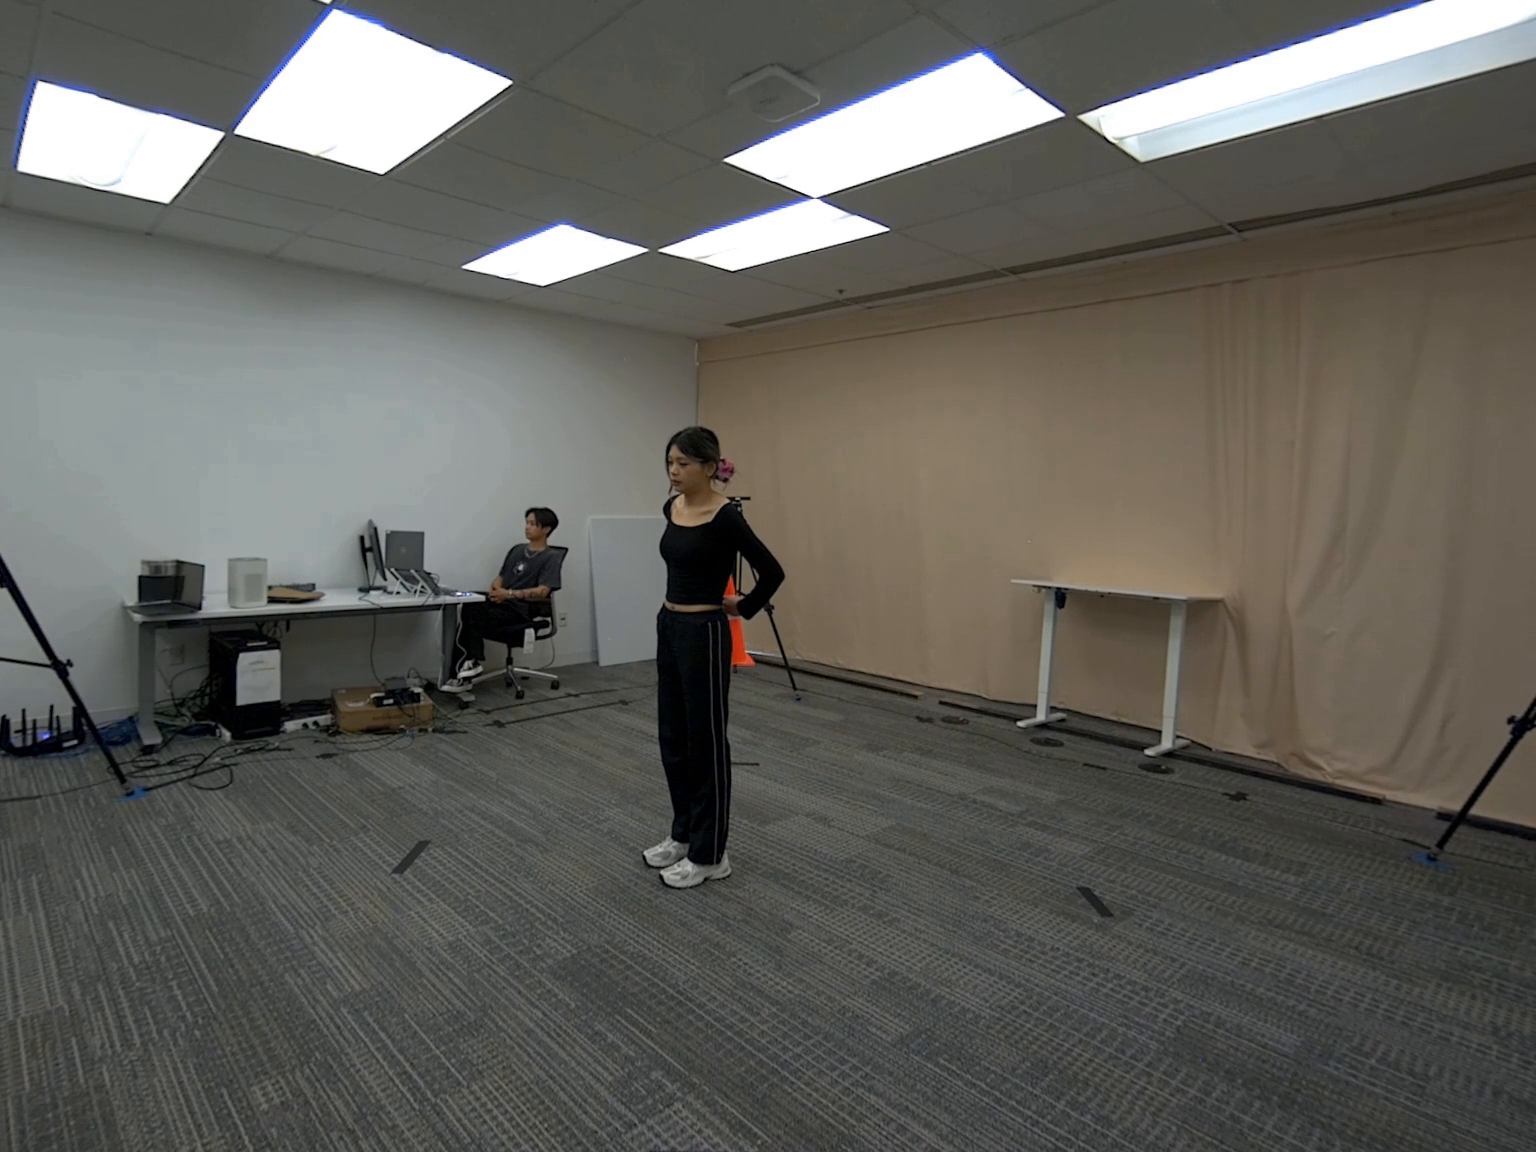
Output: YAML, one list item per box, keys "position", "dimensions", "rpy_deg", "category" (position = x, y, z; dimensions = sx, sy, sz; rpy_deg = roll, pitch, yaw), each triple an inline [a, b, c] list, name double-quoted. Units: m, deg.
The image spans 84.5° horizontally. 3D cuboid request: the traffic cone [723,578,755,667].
- position: [-0.169, 0.143, 3.308]
  dimensions: [0.202, 0.383, 0.207]
  rpy_deg: [2, 4, -9]
  category: "traffic cone"
